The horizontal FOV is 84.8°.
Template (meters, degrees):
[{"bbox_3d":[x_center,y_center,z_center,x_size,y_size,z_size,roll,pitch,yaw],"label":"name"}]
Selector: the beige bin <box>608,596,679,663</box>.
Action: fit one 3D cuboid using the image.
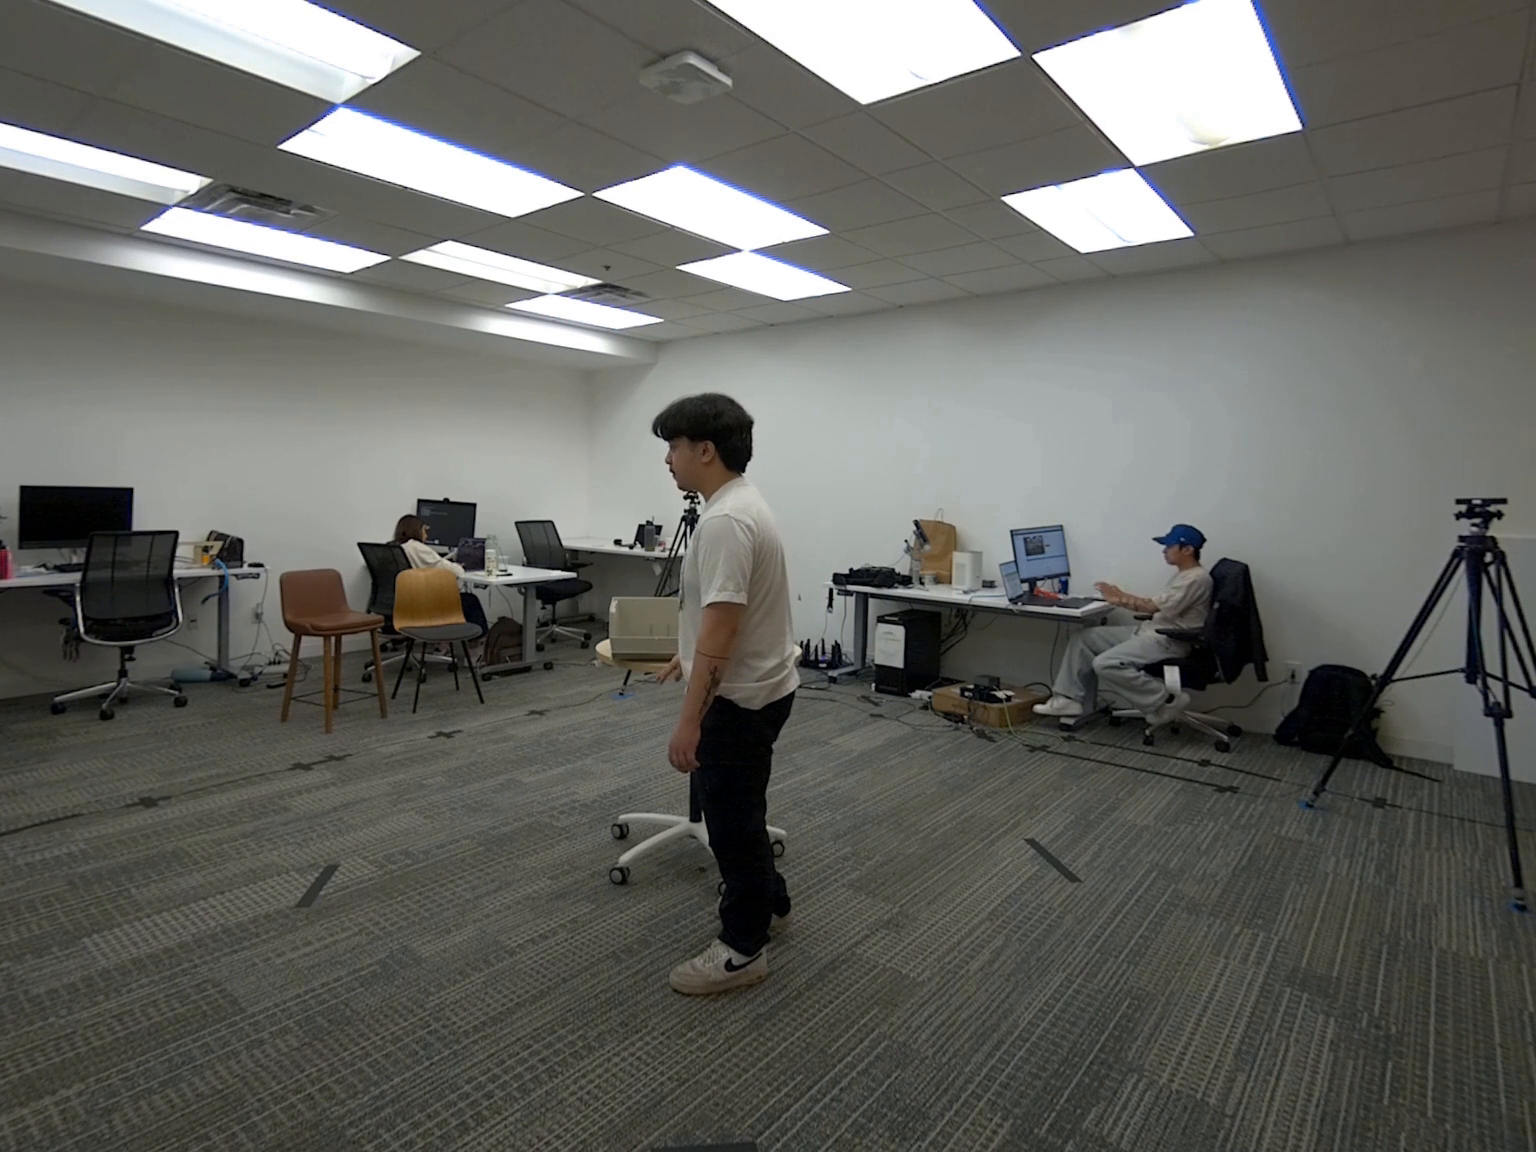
[{"bbox_3d":[-0.358,0.184,3.023,0.419,0.188,0.381,0,4,-8],"label":"beige bin"}]
